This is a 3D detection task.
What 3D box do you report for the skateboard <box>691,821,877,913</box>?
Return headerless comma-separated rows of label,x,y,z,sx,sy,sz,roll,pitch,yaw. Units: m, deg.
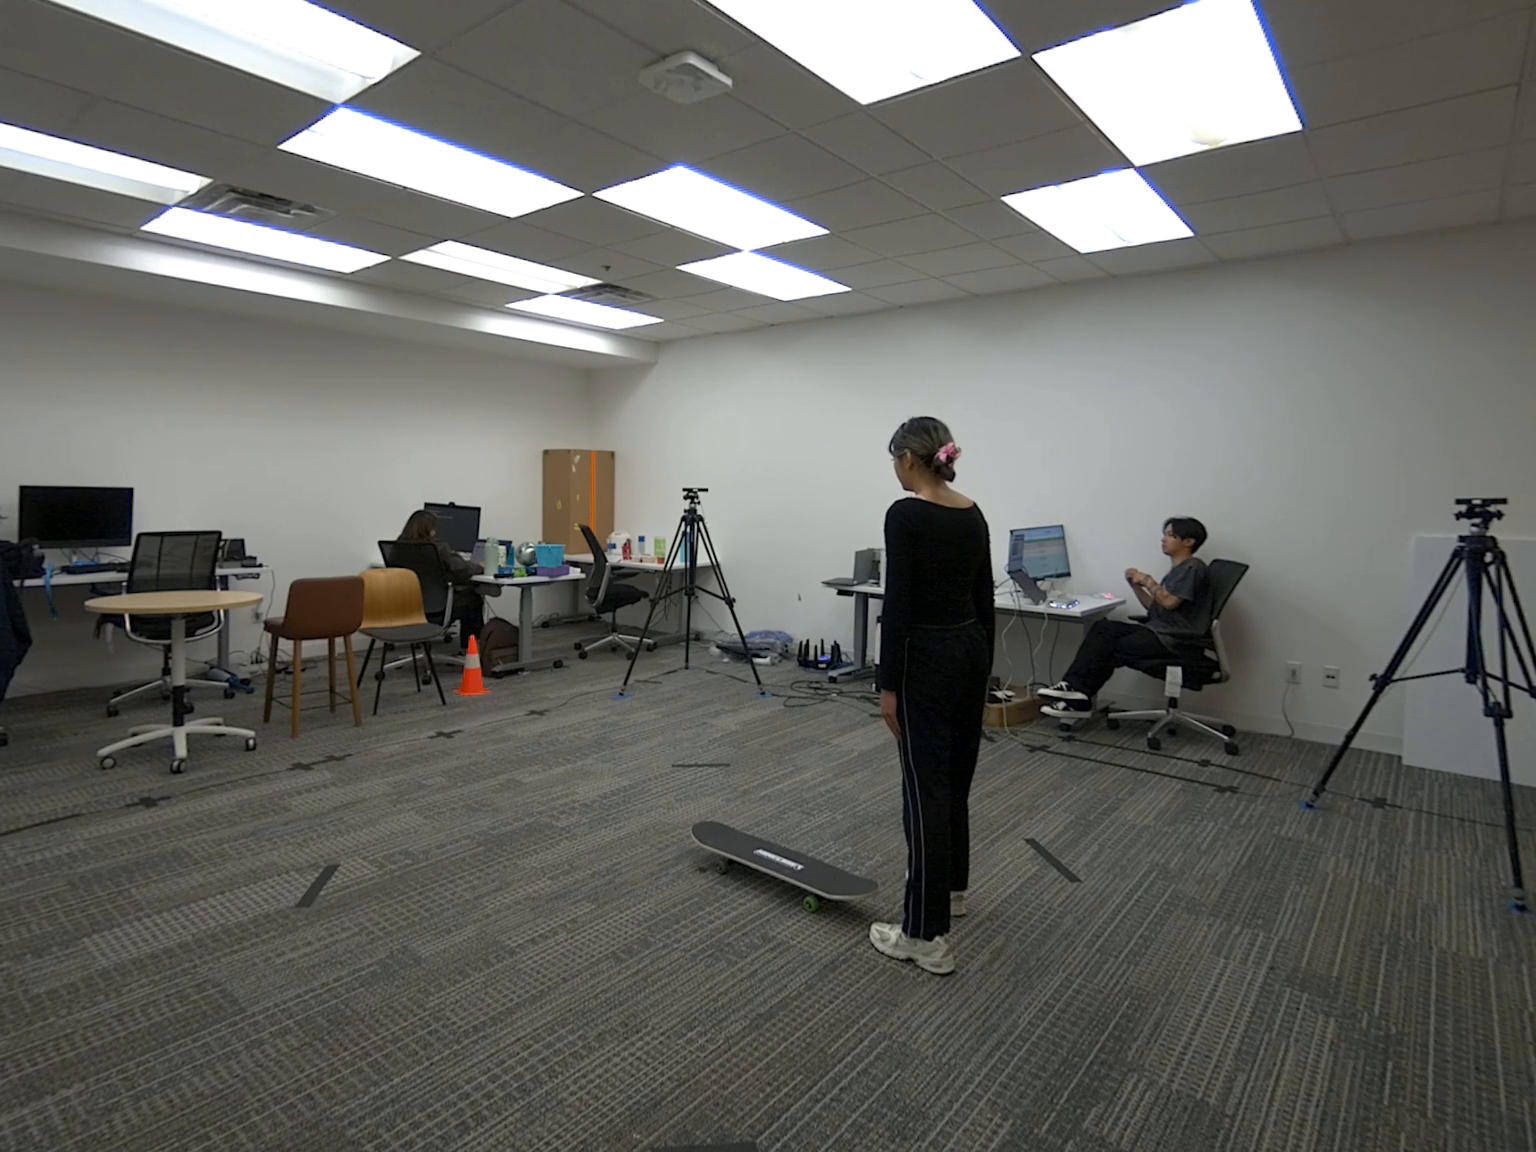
skateboard,0.030,1.033,2.999,0.812,0.110,0.188,6,7,40
